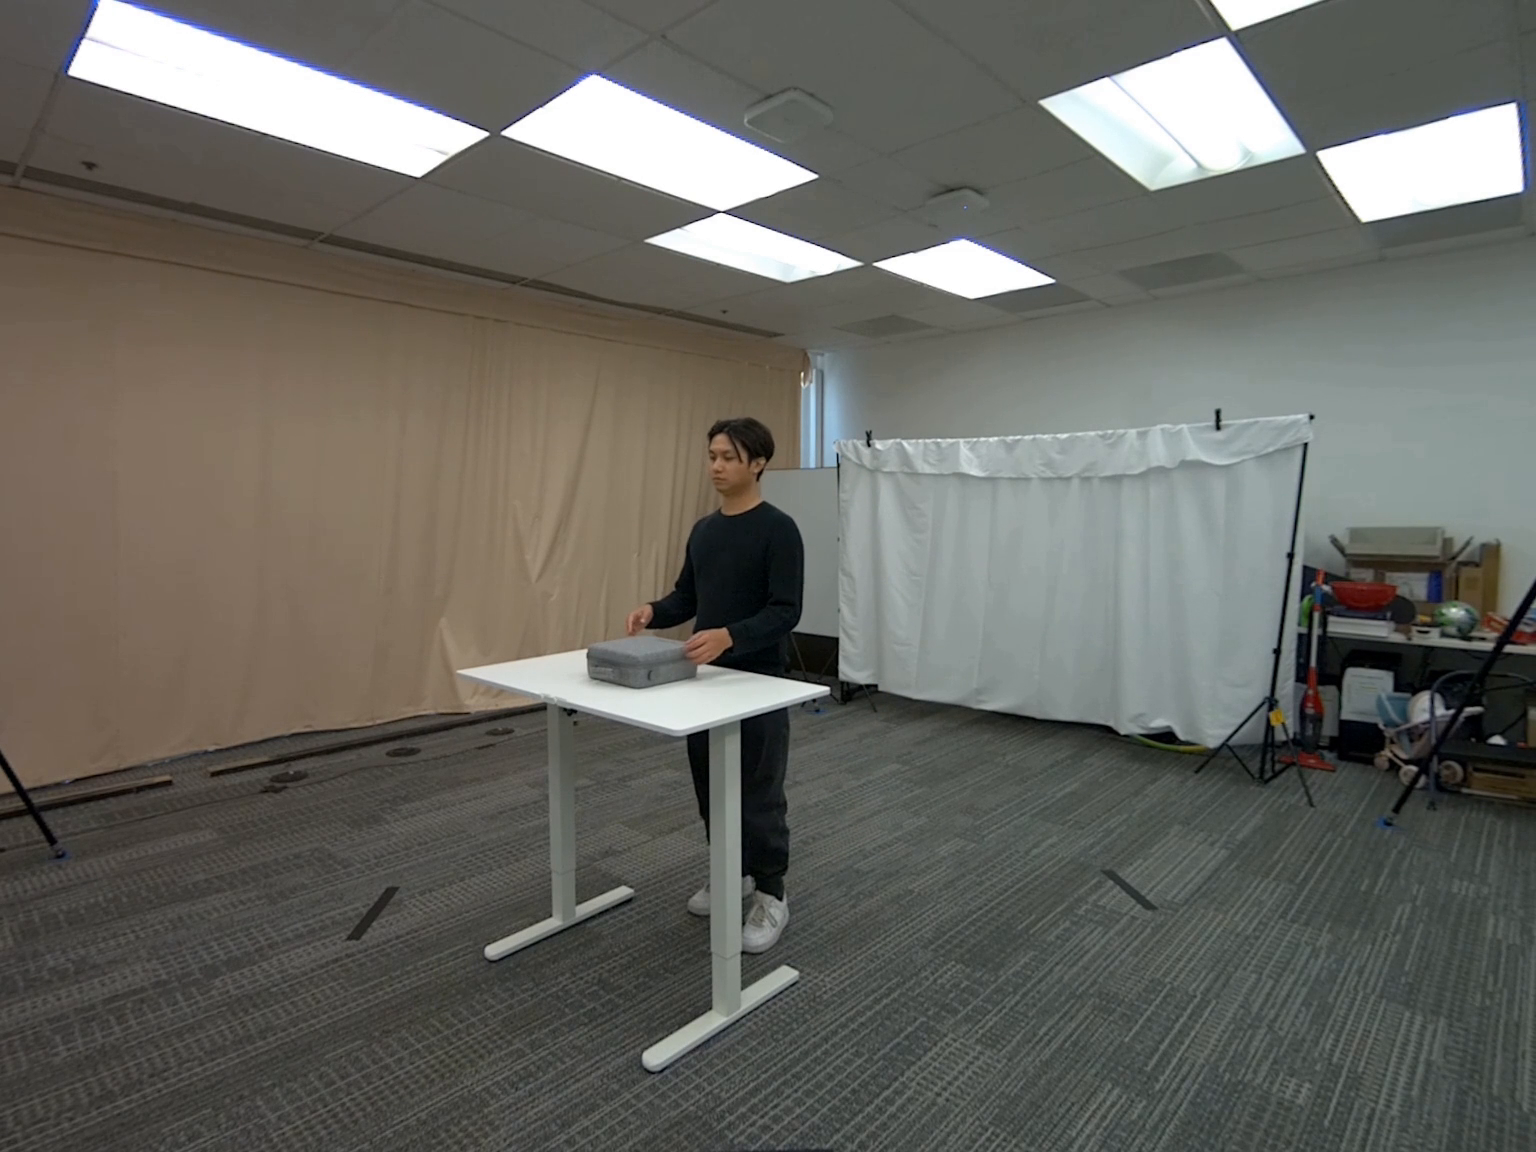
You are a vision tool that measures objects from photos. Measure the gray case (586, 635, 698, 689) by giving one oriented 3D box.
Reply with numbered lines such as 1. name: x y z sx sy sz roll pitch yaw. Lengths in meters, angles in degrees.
1. gray case: -0.381 0.255 2.497 0.266 0.104 0.253 6 9 42
